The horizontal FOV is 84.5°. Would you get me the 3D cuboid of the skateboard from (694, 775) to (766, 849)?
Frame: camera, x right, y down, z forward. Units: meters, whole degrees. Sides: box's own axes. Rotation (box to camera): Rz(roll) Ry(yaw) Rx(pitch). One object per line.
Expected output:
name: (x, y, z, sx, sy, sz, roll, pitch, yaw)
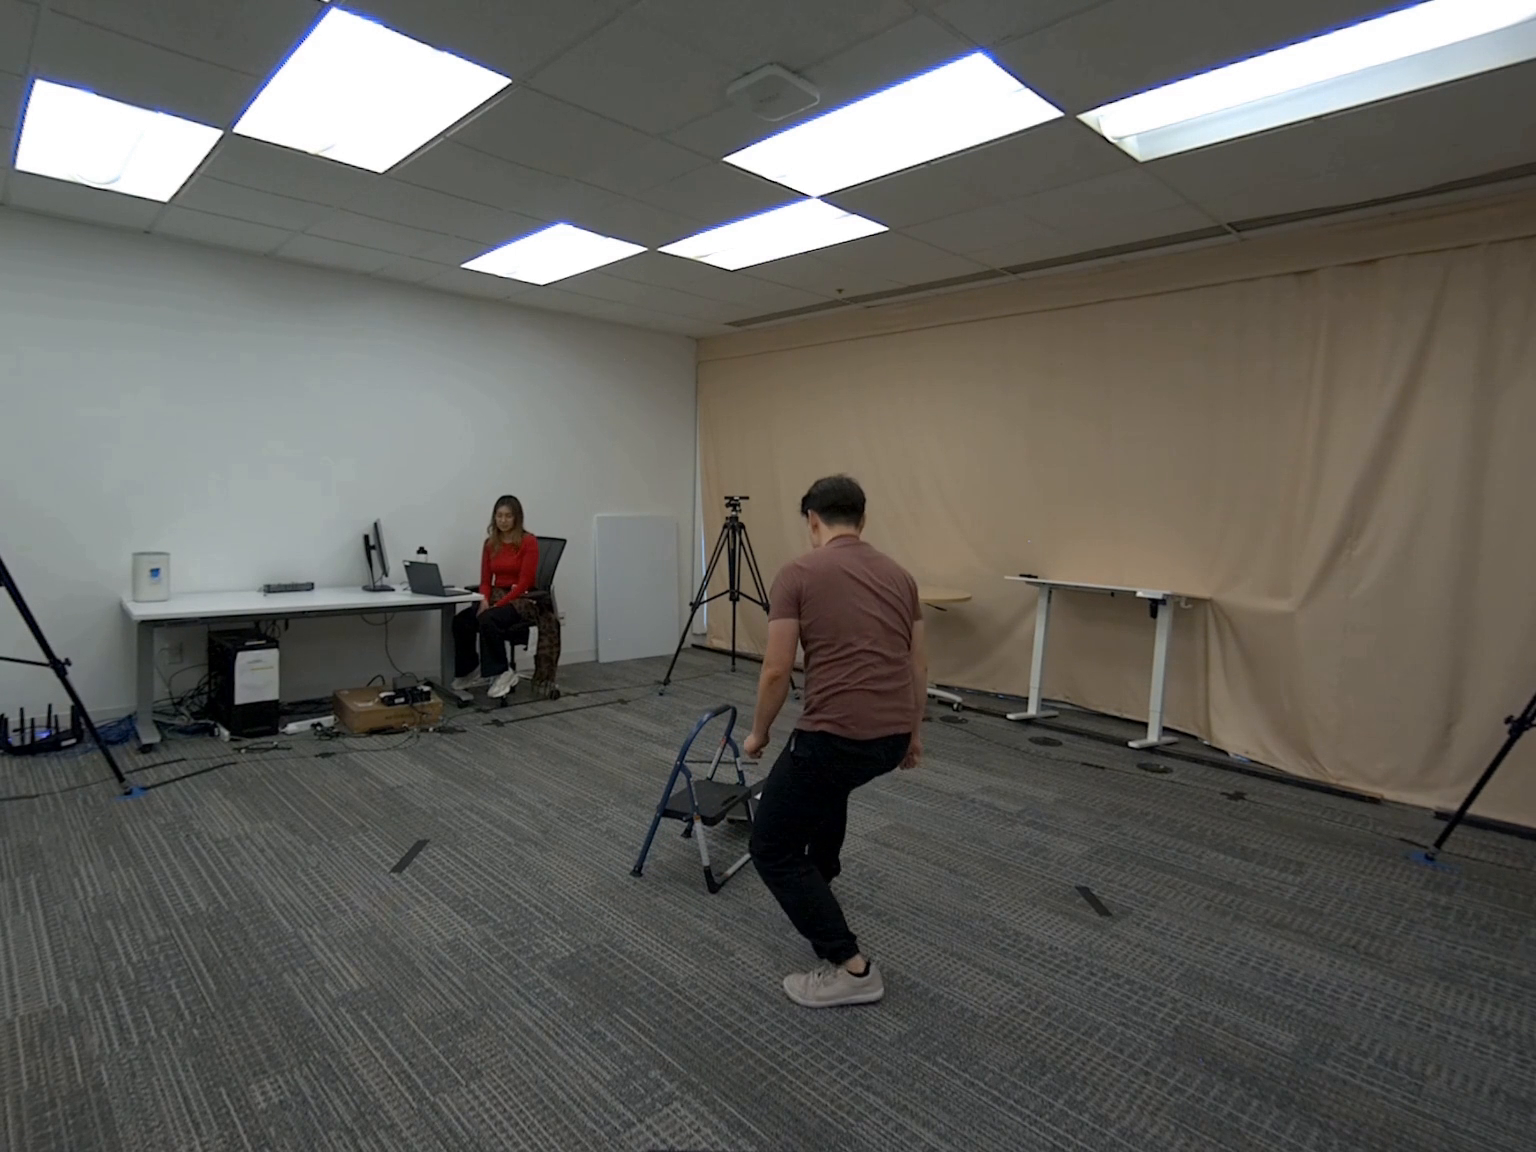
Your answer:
skateboard: (-0.008, 0.996, 3.759, 0.197, 0.110, 0.771, 4, 5, 26)
